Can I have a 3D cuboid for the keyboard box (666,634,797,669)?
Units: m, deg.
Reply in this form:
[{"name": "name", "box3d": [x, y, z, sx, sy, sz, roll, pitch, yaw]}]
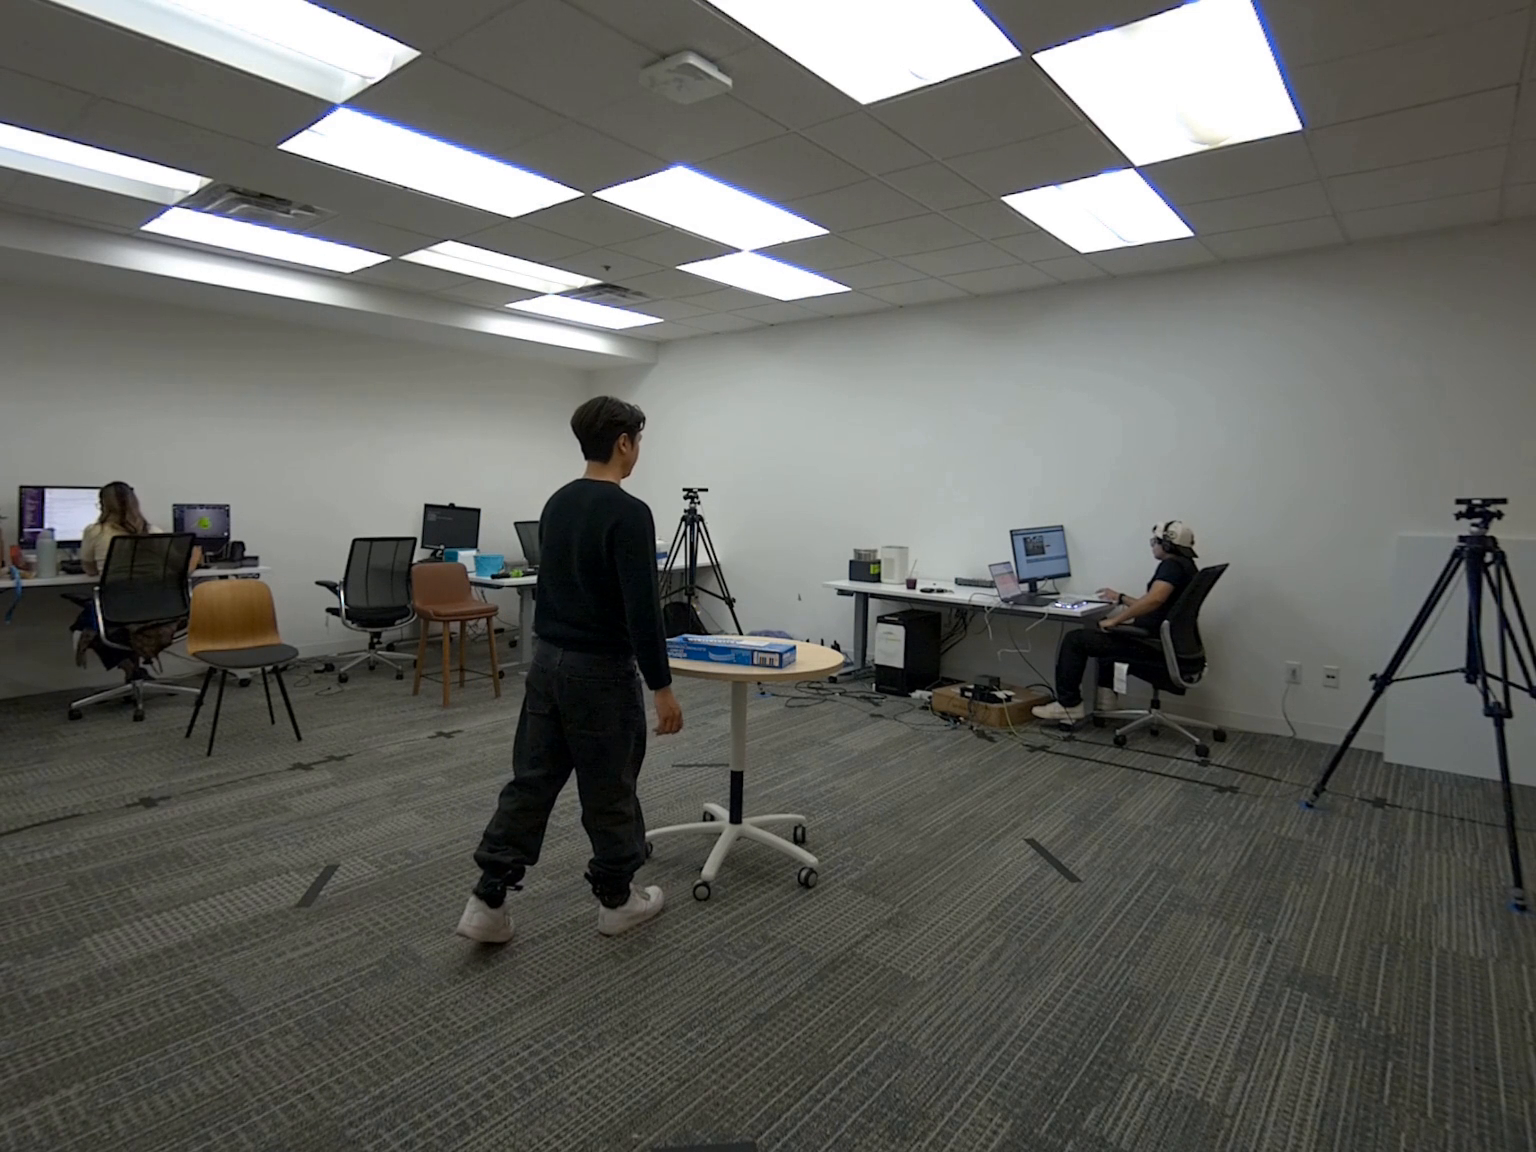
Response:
[{"name": "keyboard box", "box3d": [-0.143, 0.261, 3.043, 0.447, 0.059, 0.173, 3, 6, 21]}]
